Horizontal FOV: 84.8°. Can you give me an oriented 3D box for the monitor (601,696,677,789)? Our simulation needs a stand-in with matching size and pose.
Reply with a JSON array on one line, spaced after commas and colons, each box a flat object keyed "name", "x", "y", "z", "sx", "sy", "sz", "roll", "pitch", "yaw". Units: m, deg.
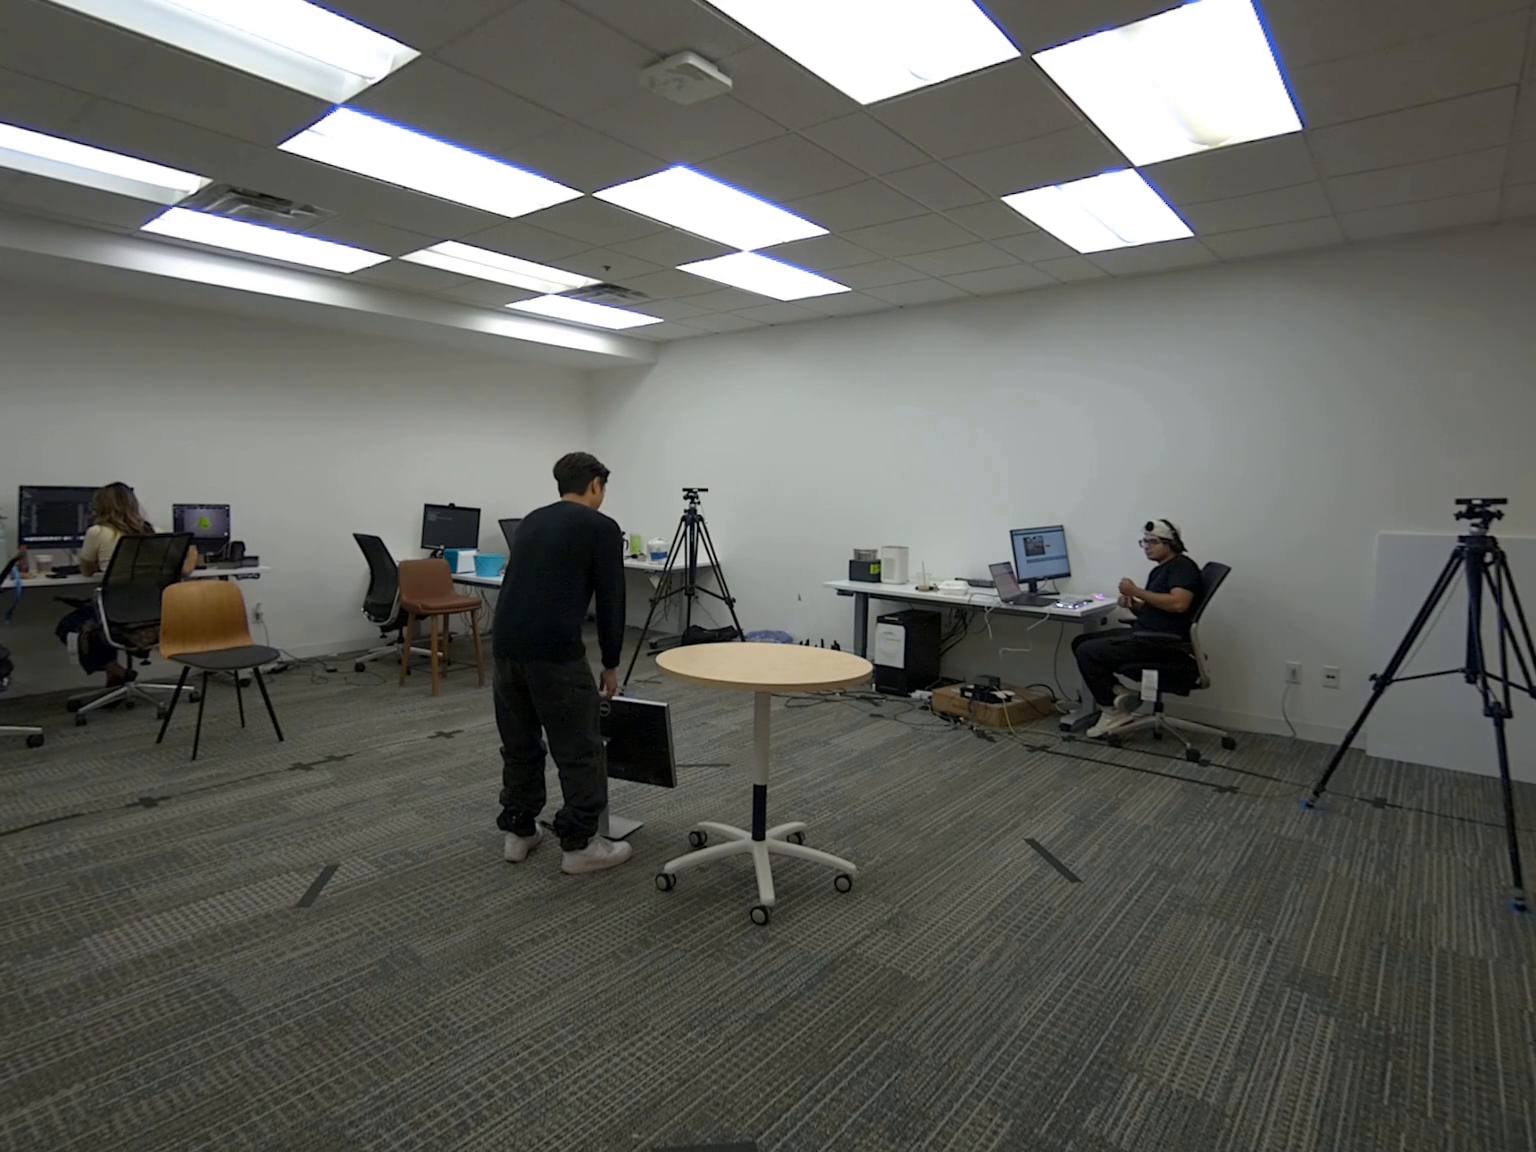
[{"name": "monitor", "x": -0.667, "y": 0.761, "z": 3.470, "sx": 0.553, "sy": 0.522, "sz": 0.182, "roll": 2, "pitch": 2, "yaw": 26}]
